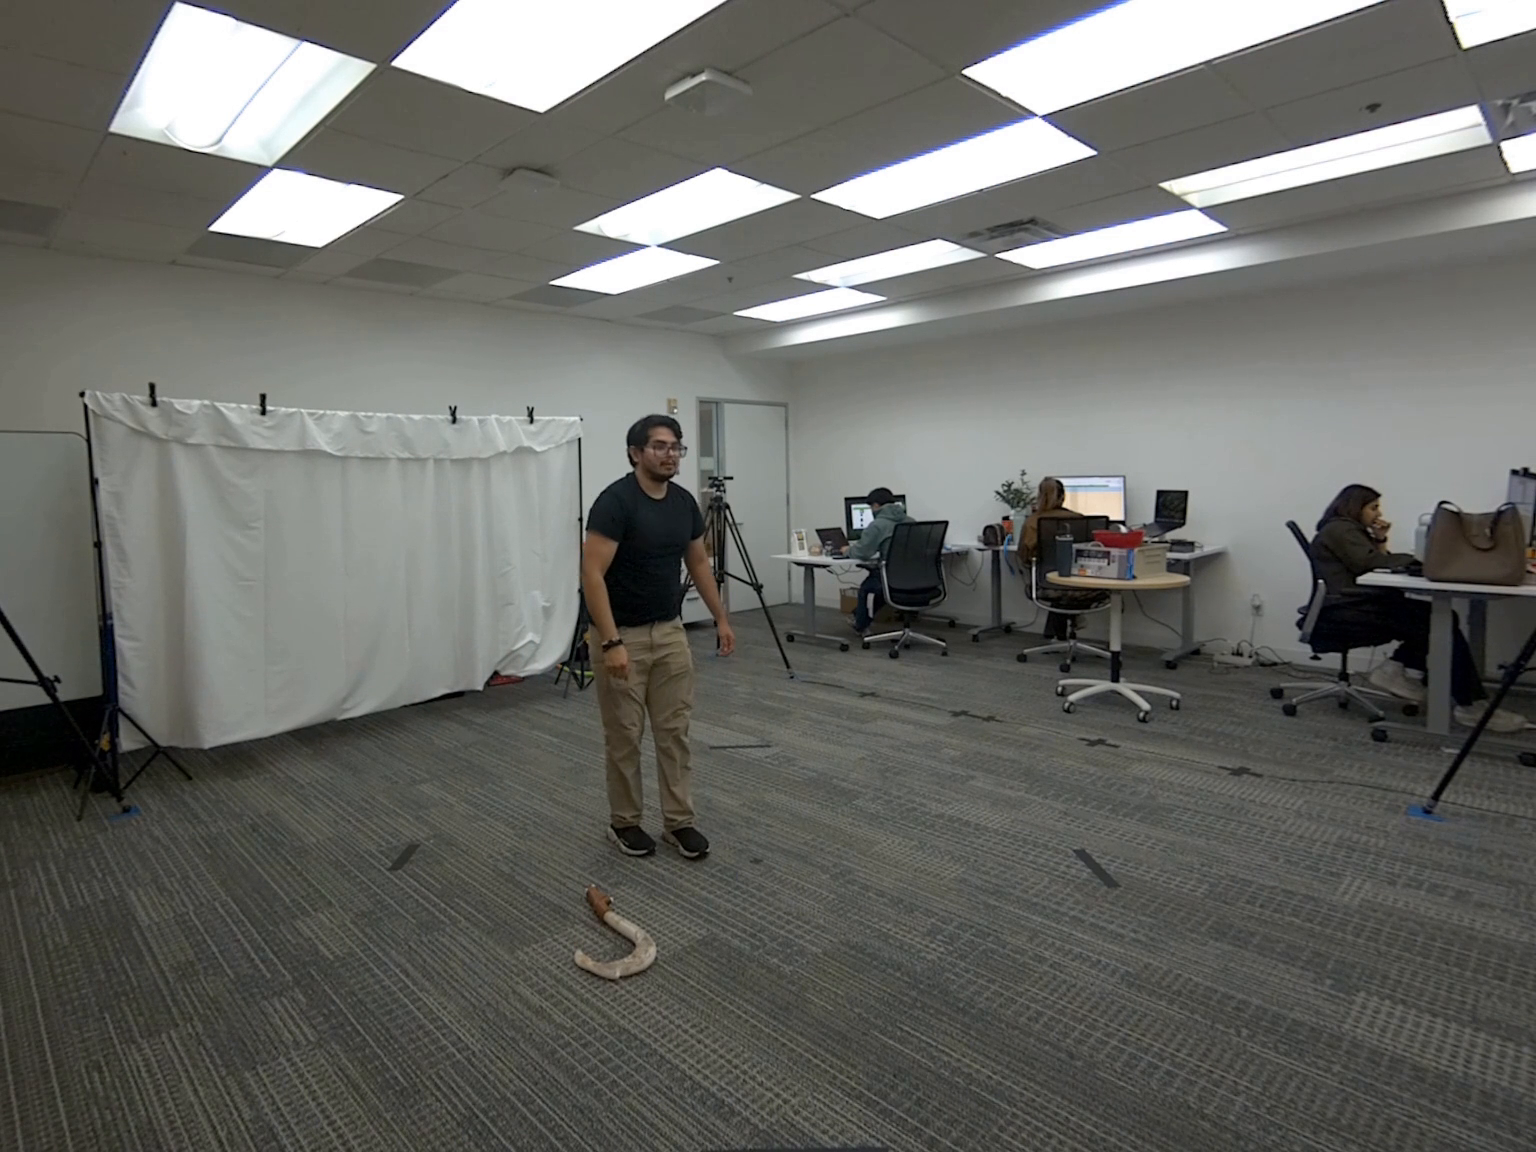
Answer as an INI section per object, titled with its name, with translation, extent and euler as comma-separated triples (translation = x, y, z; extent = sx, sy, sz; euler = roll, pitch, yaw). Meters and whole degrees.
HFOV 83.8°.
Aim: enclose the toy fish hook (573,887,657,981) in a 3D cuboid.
[toy fish hook]
translation = -0.512, 1.090, 2.619
extent = 0.219, 0.048, 0.520
euler = -5, 7, -29
